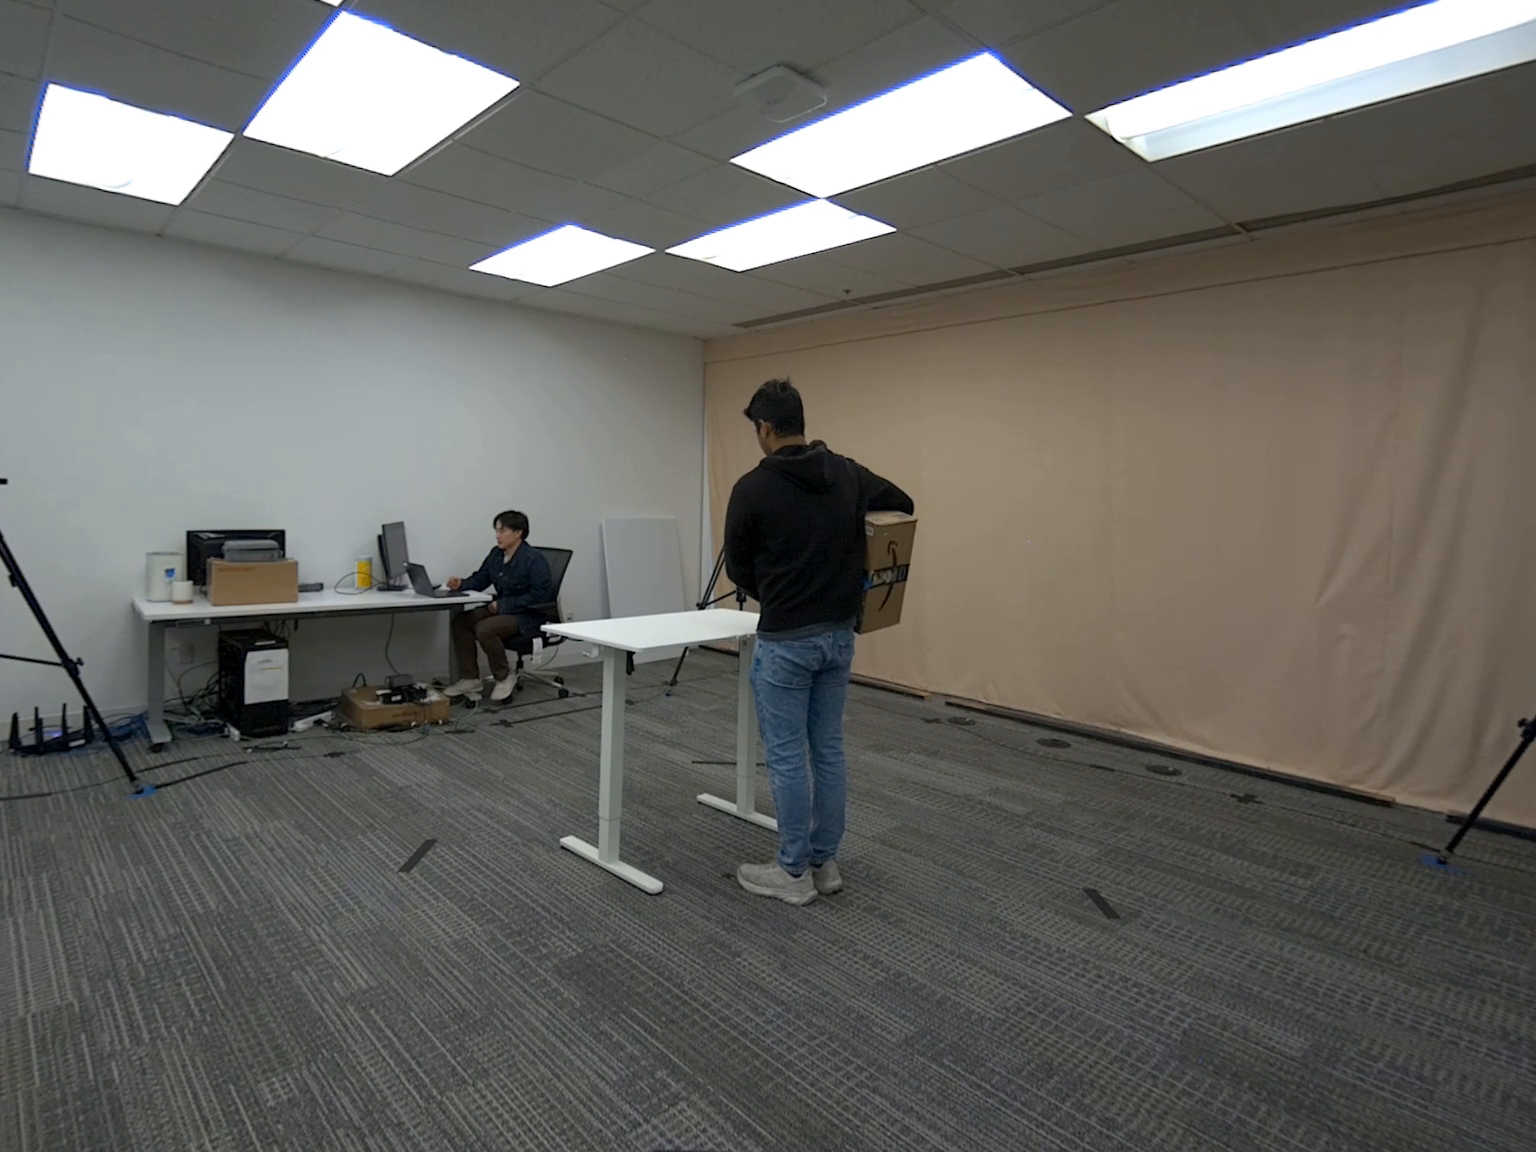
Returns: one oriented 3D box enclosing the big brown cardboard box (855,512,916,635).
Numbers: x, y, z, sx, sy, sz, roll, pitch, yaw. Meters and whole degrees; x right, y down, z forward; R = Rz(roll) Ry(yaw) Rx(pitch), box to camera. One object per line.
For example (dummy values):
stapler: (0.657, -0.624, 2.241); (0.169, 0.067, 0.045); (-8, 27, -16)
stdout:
big brown cardboard box: (0.251, -0.085, 3.185); (0.229, 0.412, 0.607); (-9, 24, -37)
